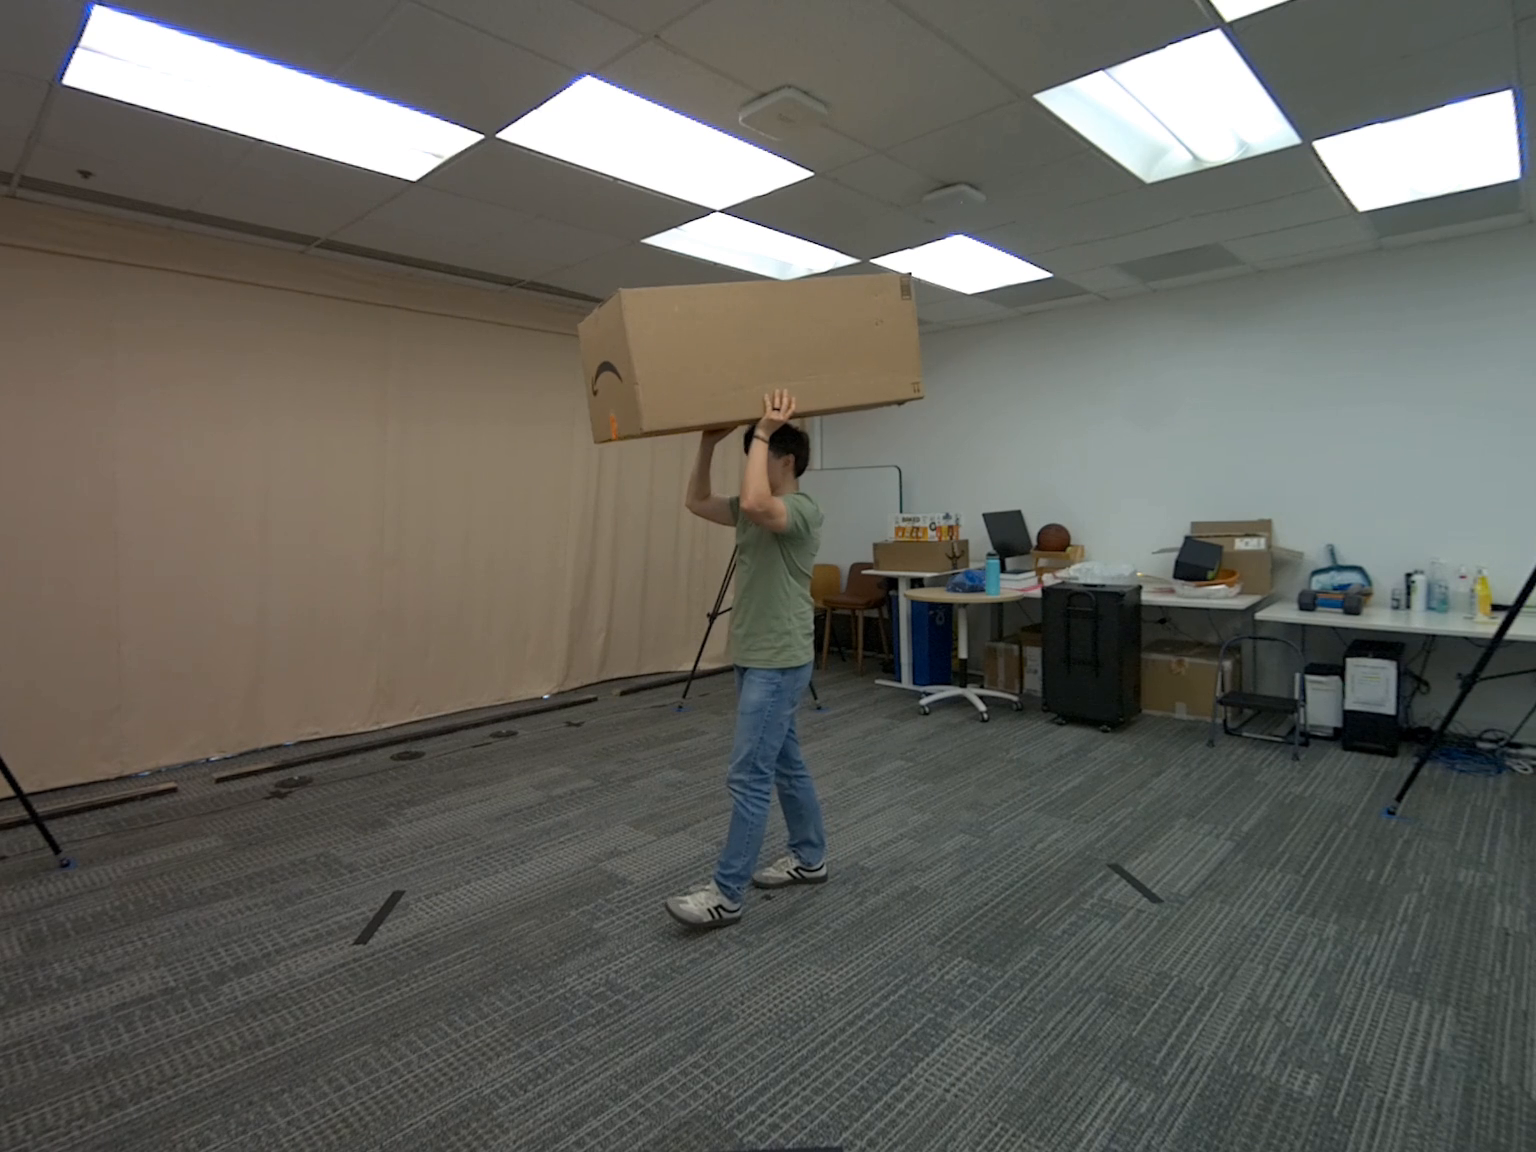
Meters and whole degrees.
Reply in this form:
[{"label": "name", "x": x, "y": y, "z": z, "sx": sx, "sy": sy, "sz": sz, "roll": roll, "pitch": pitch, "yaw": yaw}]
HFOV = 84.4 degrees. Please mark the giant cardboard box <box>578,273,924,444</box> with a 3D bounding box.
[{"label": "giant cardboard box", "x": -0.067, "y": -0.739, "z": 2.905, "sx": 1.006, "sy": 0.424, "sz": 0.592, "roll": -11, "pitch": 9, "yaw": -22}]
